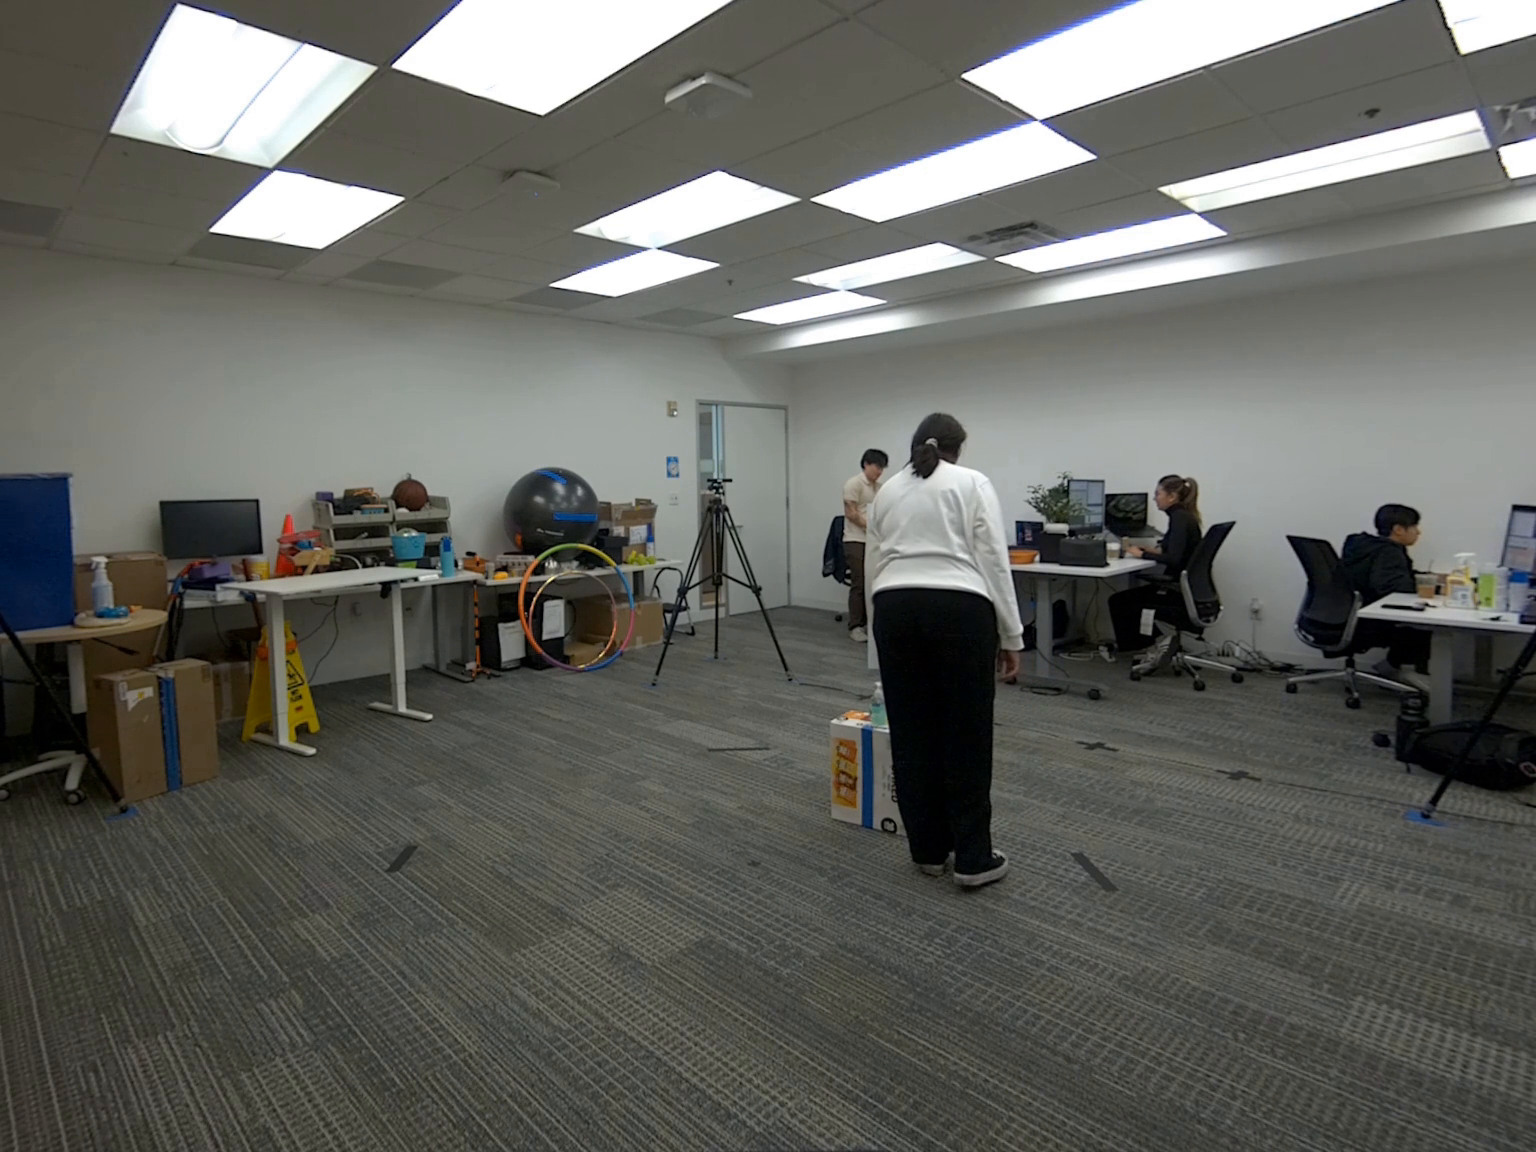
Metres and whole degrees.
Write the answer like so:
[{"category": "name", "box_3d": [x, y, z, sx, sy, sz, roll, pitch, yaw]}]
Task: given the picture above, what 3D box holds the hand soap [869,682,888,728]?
[{"category": "hand soap", "box_3d": [0.438, 0.510, 3.432, 0.086, 0.167, 0.042, -1, 4, 24]}]
